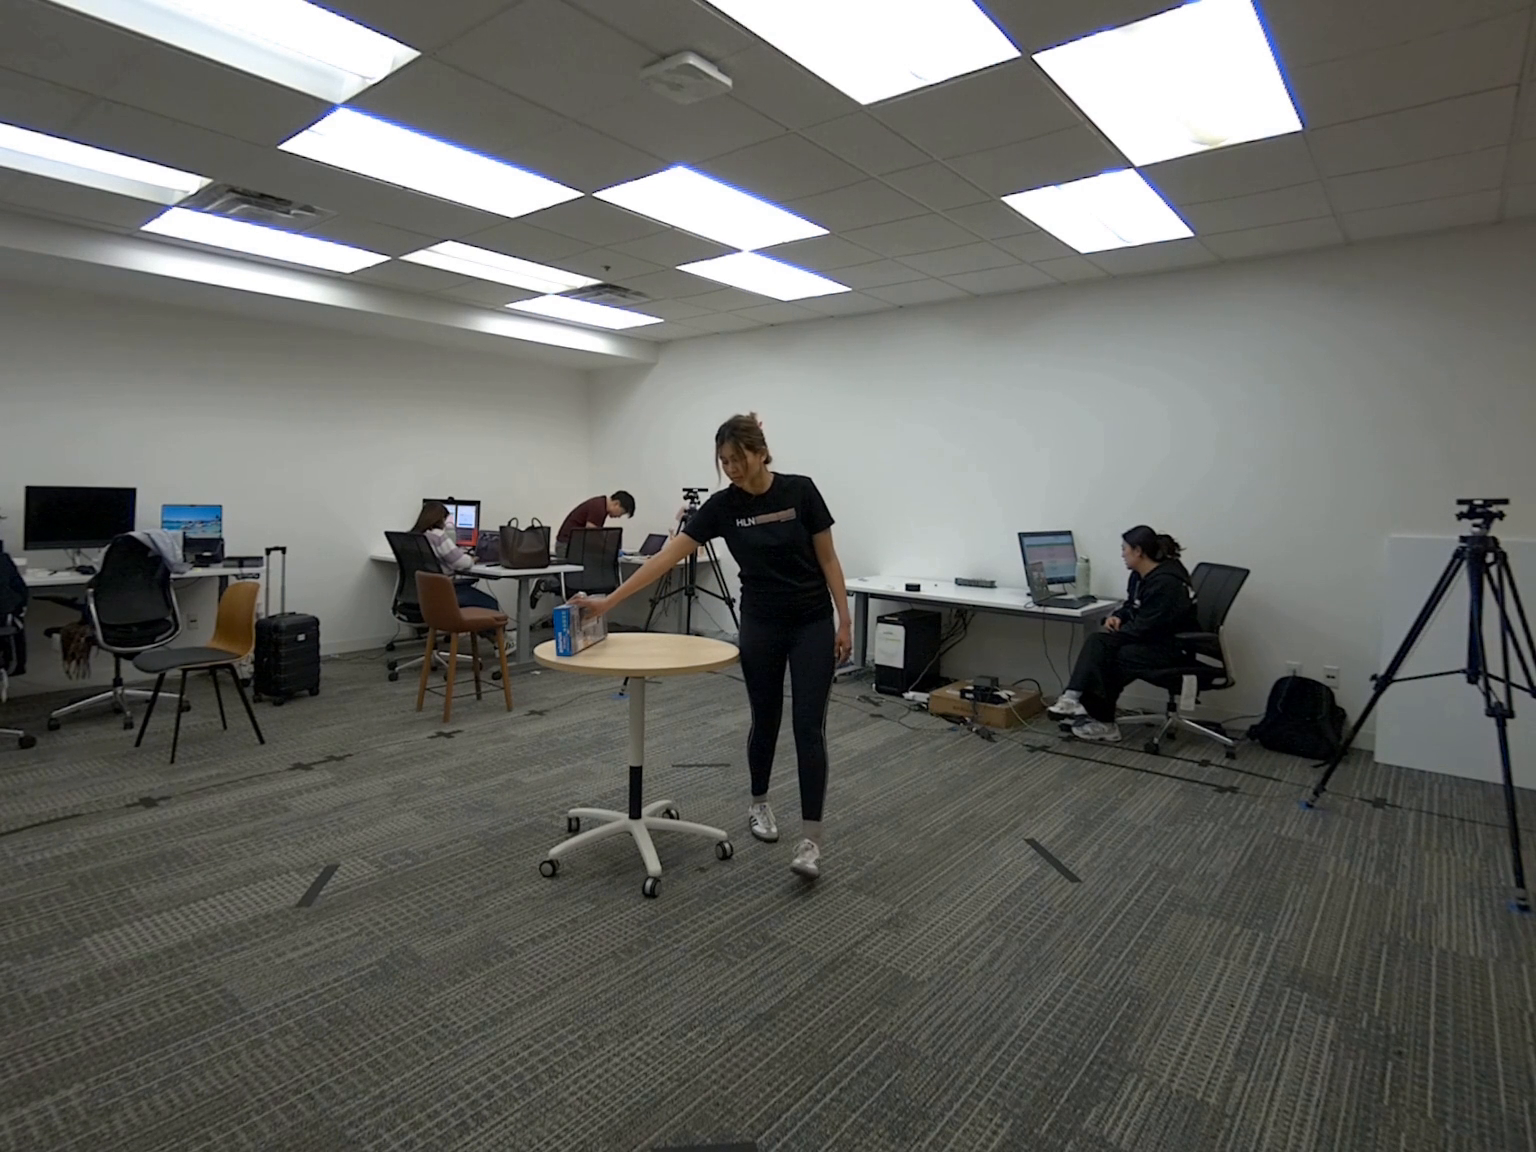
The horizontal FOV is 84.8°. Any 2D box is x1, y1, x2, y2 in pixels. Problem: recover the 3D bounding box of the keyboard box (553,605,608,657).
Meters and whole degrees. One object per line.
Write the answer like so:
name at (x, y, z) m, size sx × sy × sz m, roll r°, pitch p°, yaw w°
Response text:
keyboard box at (-0.718, 0.179, 3.231) m, size 0.059 × 0.175 × 0.435 m, roll -3°, pitch 4°, yaw 6°
